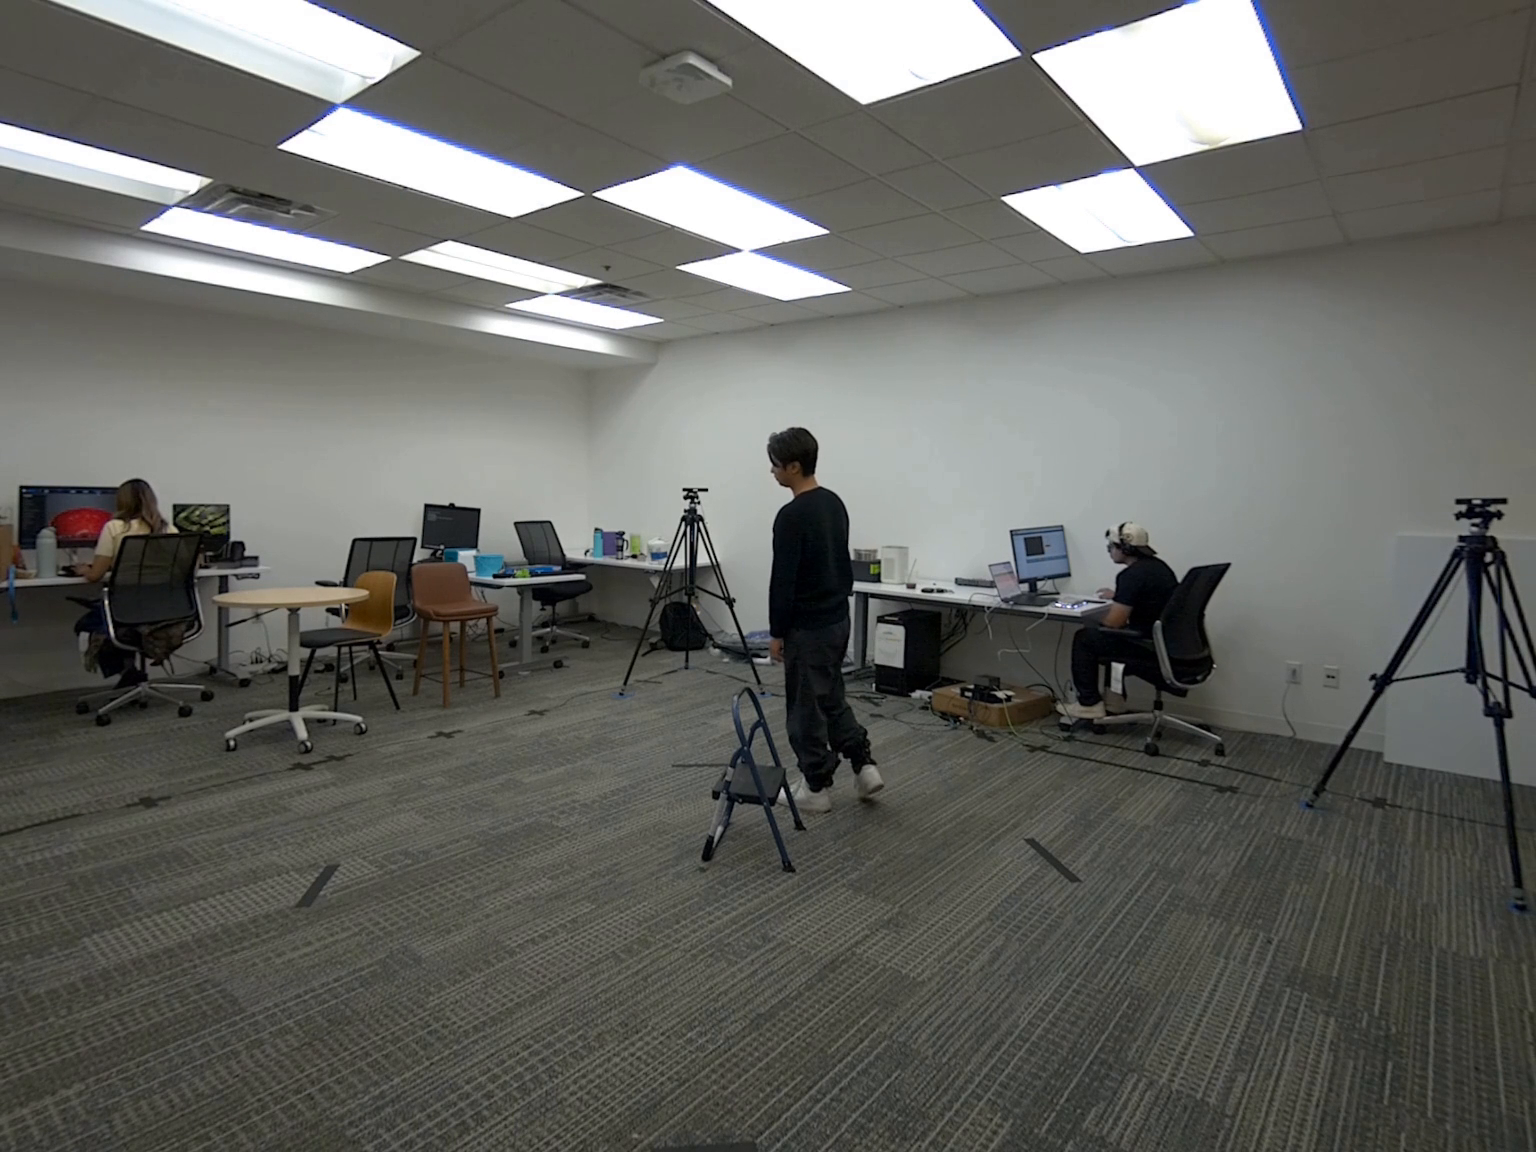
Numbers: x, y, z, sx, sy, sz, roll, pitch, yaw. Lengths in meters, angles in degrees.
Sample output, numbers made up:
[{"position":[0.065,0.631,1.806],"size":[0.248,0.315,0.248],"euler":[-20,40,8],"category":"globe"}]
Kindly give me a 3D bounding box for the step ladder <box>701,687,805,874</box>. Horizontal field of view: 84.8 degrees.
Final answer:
[{"position":[-0.048,0.751,3.324],"size":[0.353,0.604,0.427],"euler":[2,3,9],"category":"step ladder"}]
